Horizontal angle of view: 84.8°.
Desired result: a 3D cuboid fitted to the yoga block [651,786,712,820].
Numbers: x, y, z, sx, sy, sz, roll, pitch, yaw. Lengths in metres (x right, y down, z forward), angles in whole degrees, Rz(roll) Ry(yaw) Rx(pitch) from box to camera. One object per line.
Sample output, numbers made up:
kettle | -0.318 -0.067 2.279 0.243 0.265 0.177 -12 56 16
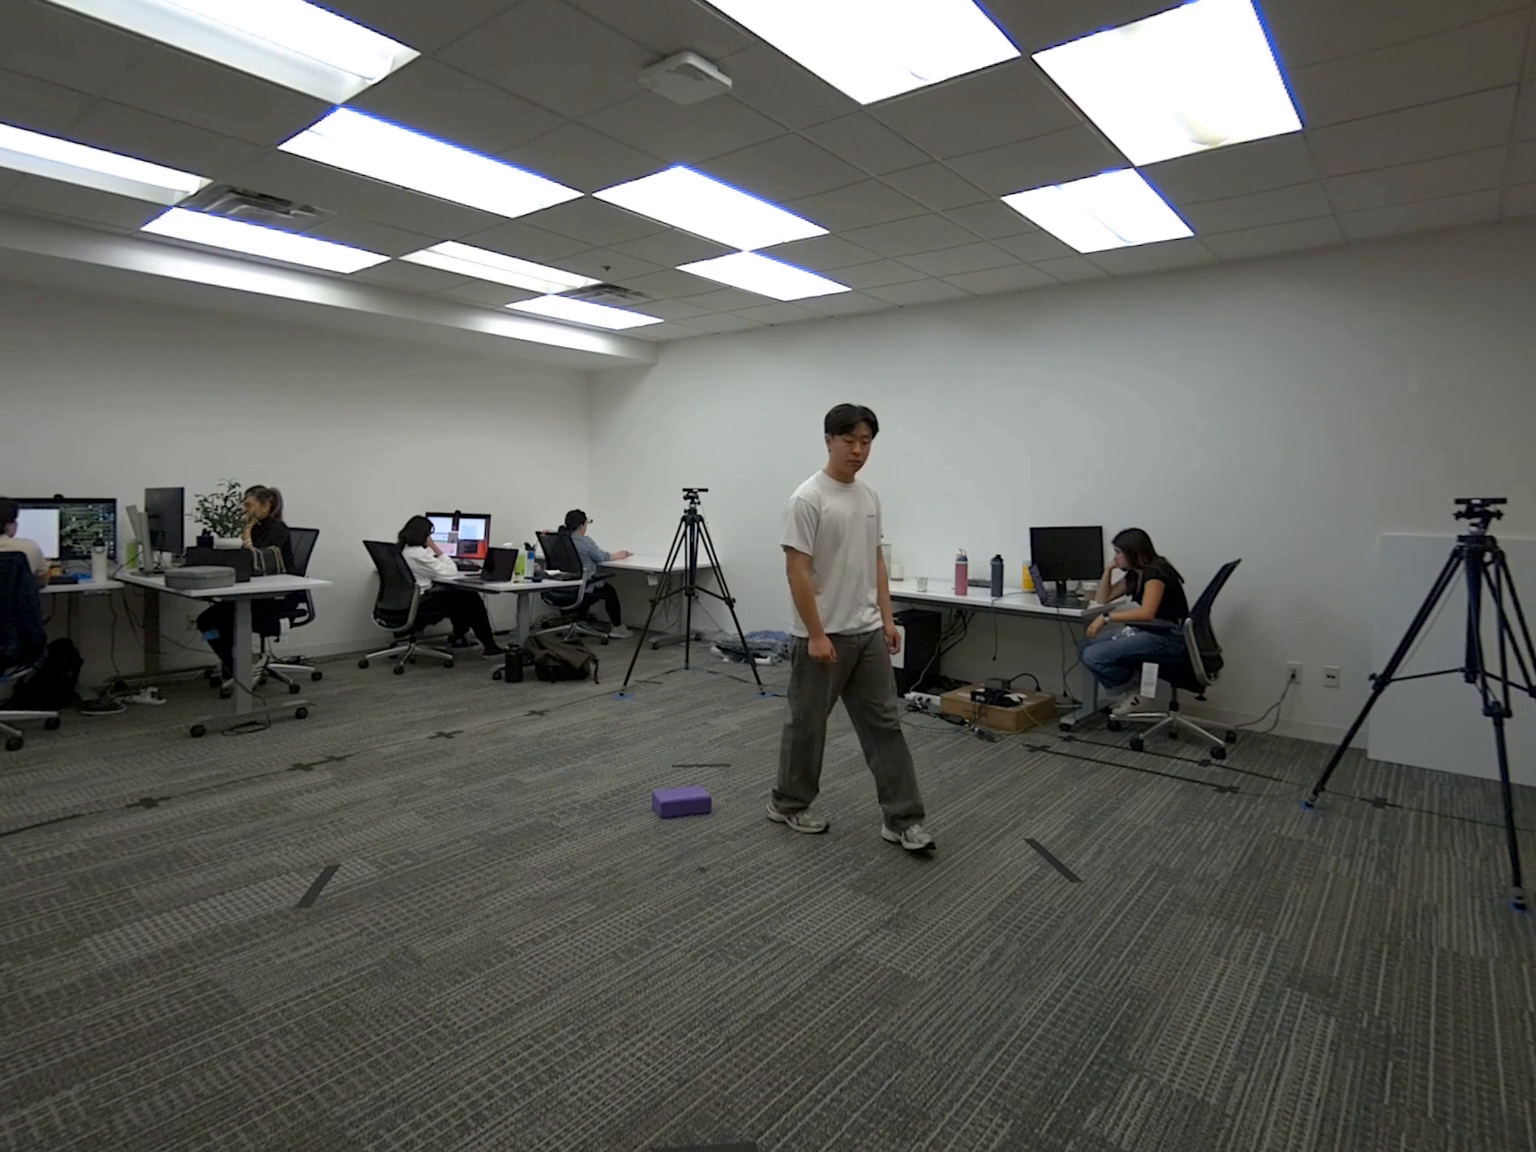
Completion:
yoga block | -0.371 0.965 3.683 0.225 0.076 0.153 -2 6 -21
